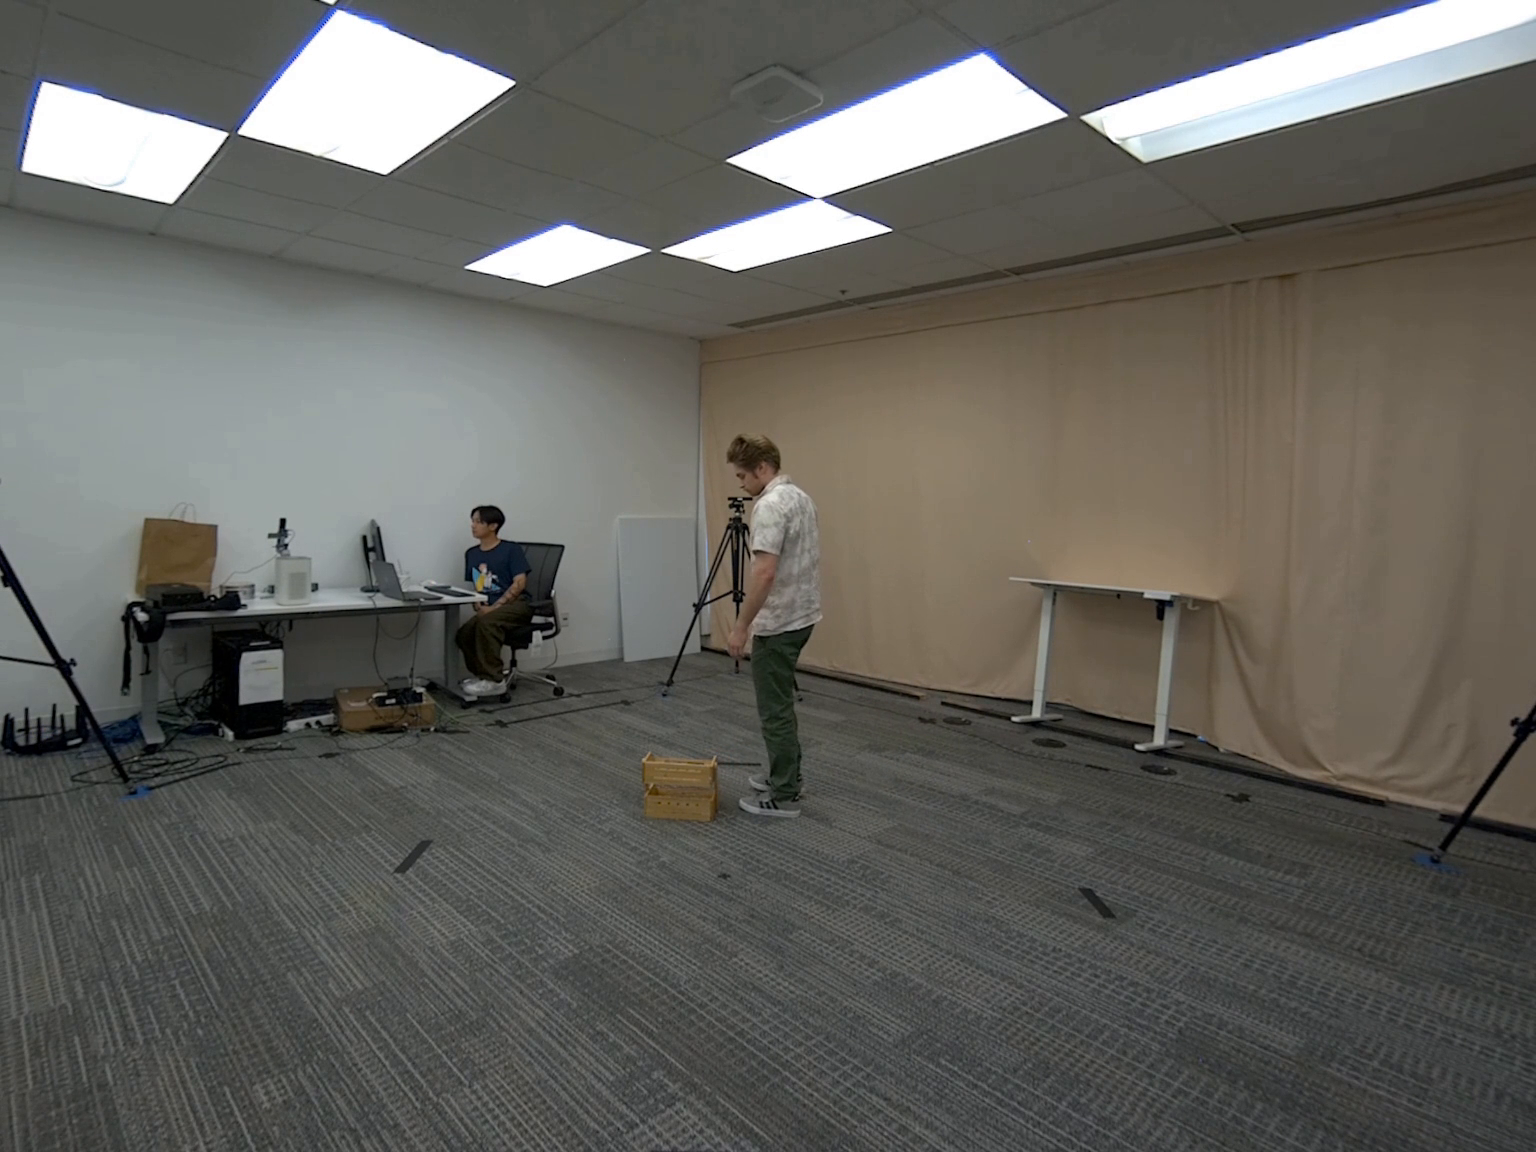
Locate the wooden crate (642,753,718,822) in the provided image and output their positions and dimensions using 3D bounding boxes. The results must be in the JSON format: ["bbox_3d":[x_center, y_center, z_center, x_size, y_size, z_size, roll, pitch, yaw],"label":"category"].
[{"bbox_3d":[-0.392,0.915,3.748,0.326,0.273,0.301,2,4,4],"label":"wooden crate"}]
